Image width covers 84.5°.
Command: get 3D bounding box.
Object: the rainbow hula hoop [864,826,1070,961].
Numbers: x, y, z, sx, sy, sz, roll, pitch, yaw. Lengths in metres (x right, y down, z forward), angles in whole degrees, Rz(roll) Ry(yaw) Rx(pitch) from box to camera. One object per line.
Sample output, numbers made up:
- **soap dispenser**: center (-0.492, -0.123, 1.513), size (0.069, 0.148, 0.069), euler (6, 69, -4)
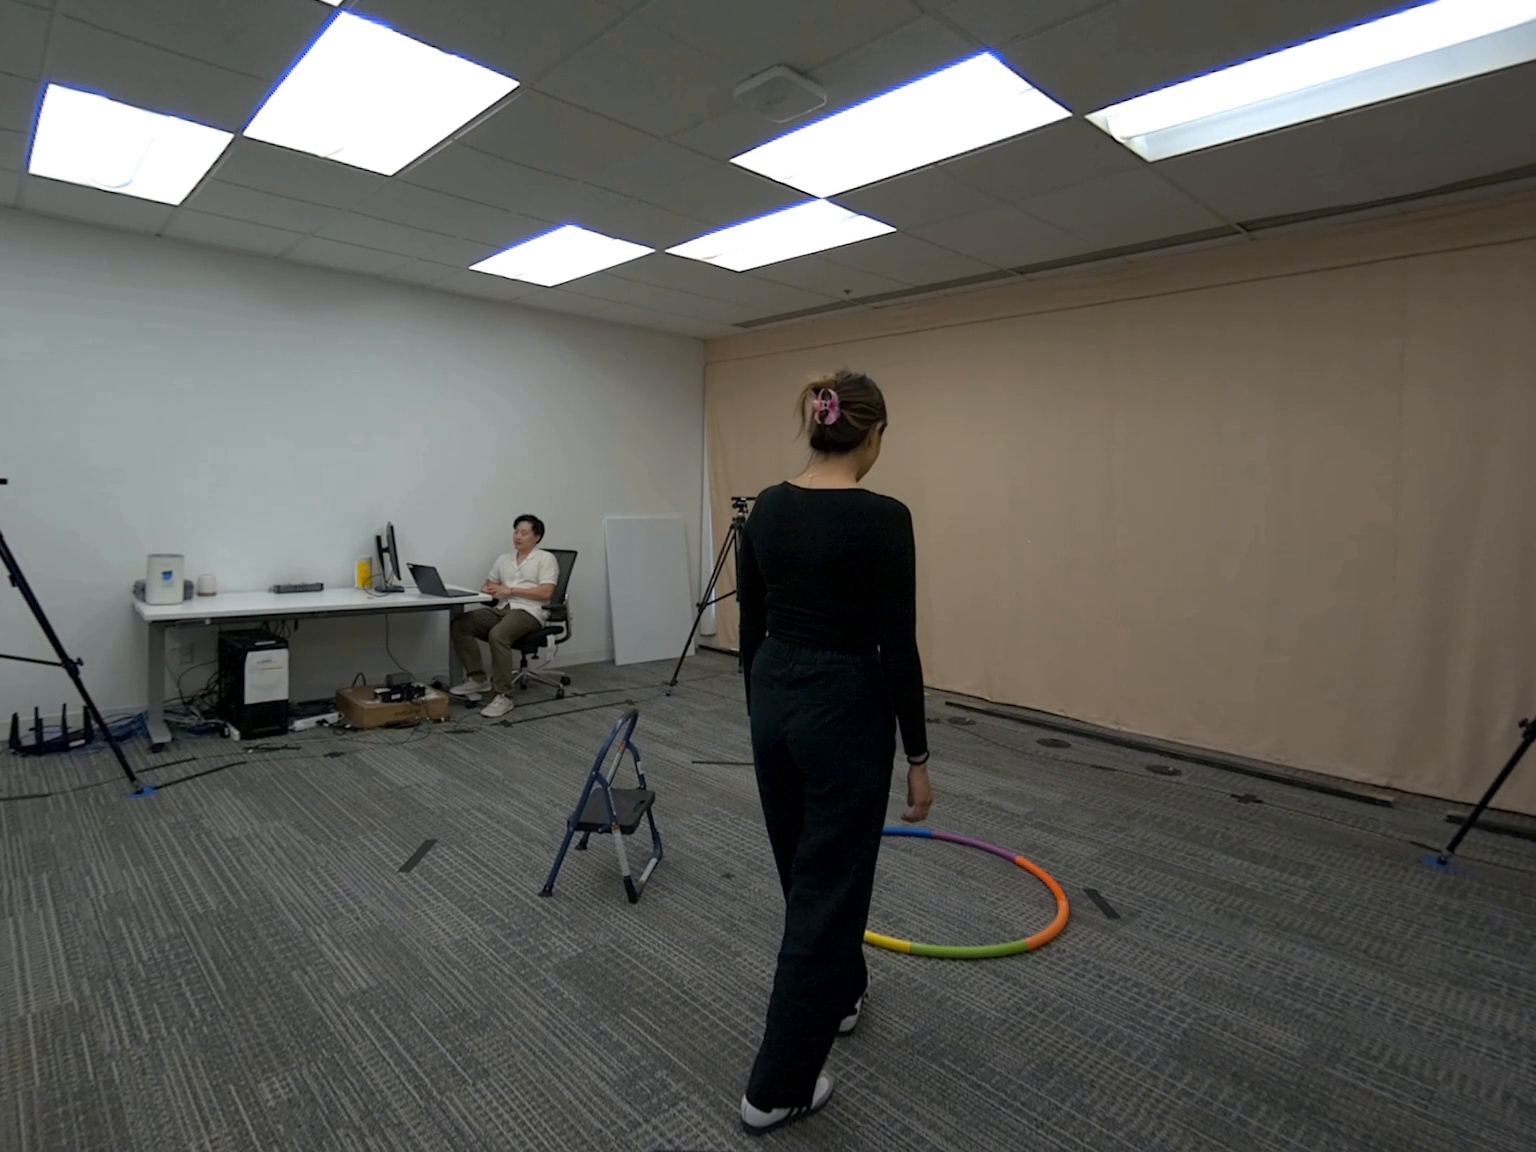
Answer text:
- **rainbow hula hoop**: center (0.544, 1.093, 3.057), size (0.978, 0.035, 0.982), euler (1, 5, -1)
